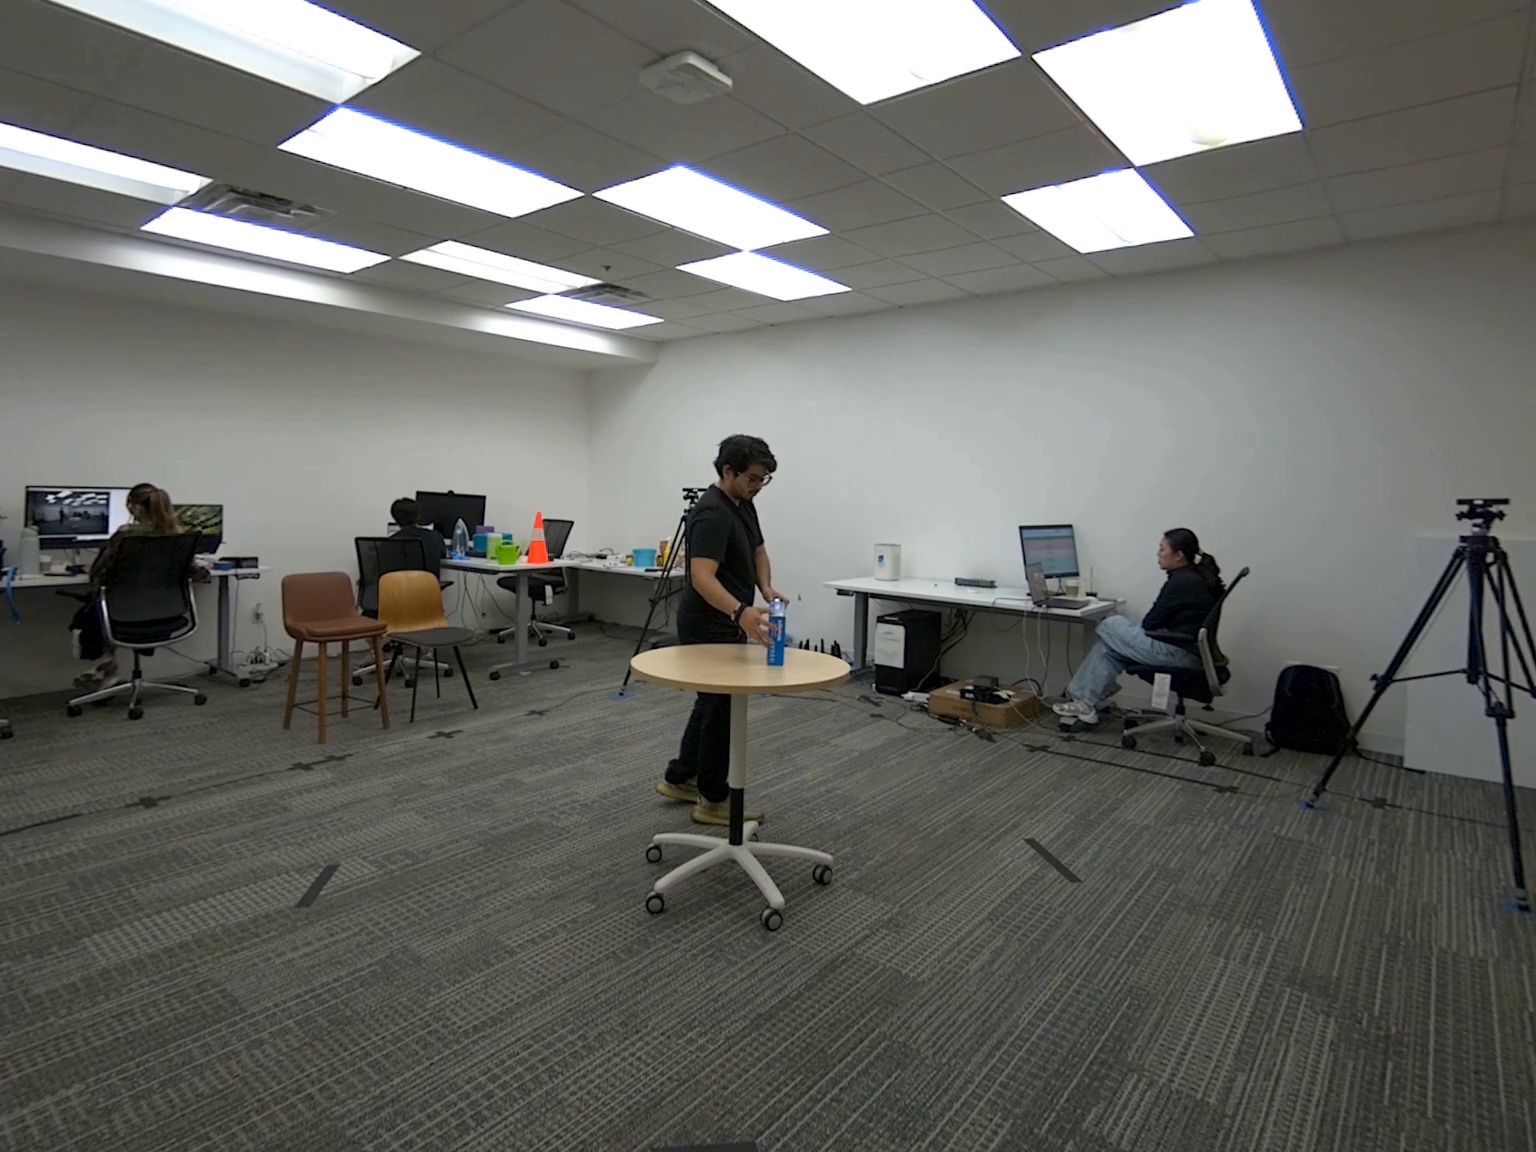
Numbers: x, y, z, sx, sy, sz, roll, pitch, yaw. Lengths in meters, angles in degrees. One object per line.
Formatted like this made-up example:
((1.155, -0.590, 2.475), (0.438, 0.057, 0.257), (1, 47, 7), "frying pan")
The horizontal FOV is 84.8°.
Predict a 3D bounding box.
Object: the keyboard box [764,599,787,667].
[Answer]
((0.025, 0.197, 3.152), (0.059, 0.175, 0.437), (2, 5, 0), "keyboard box")
